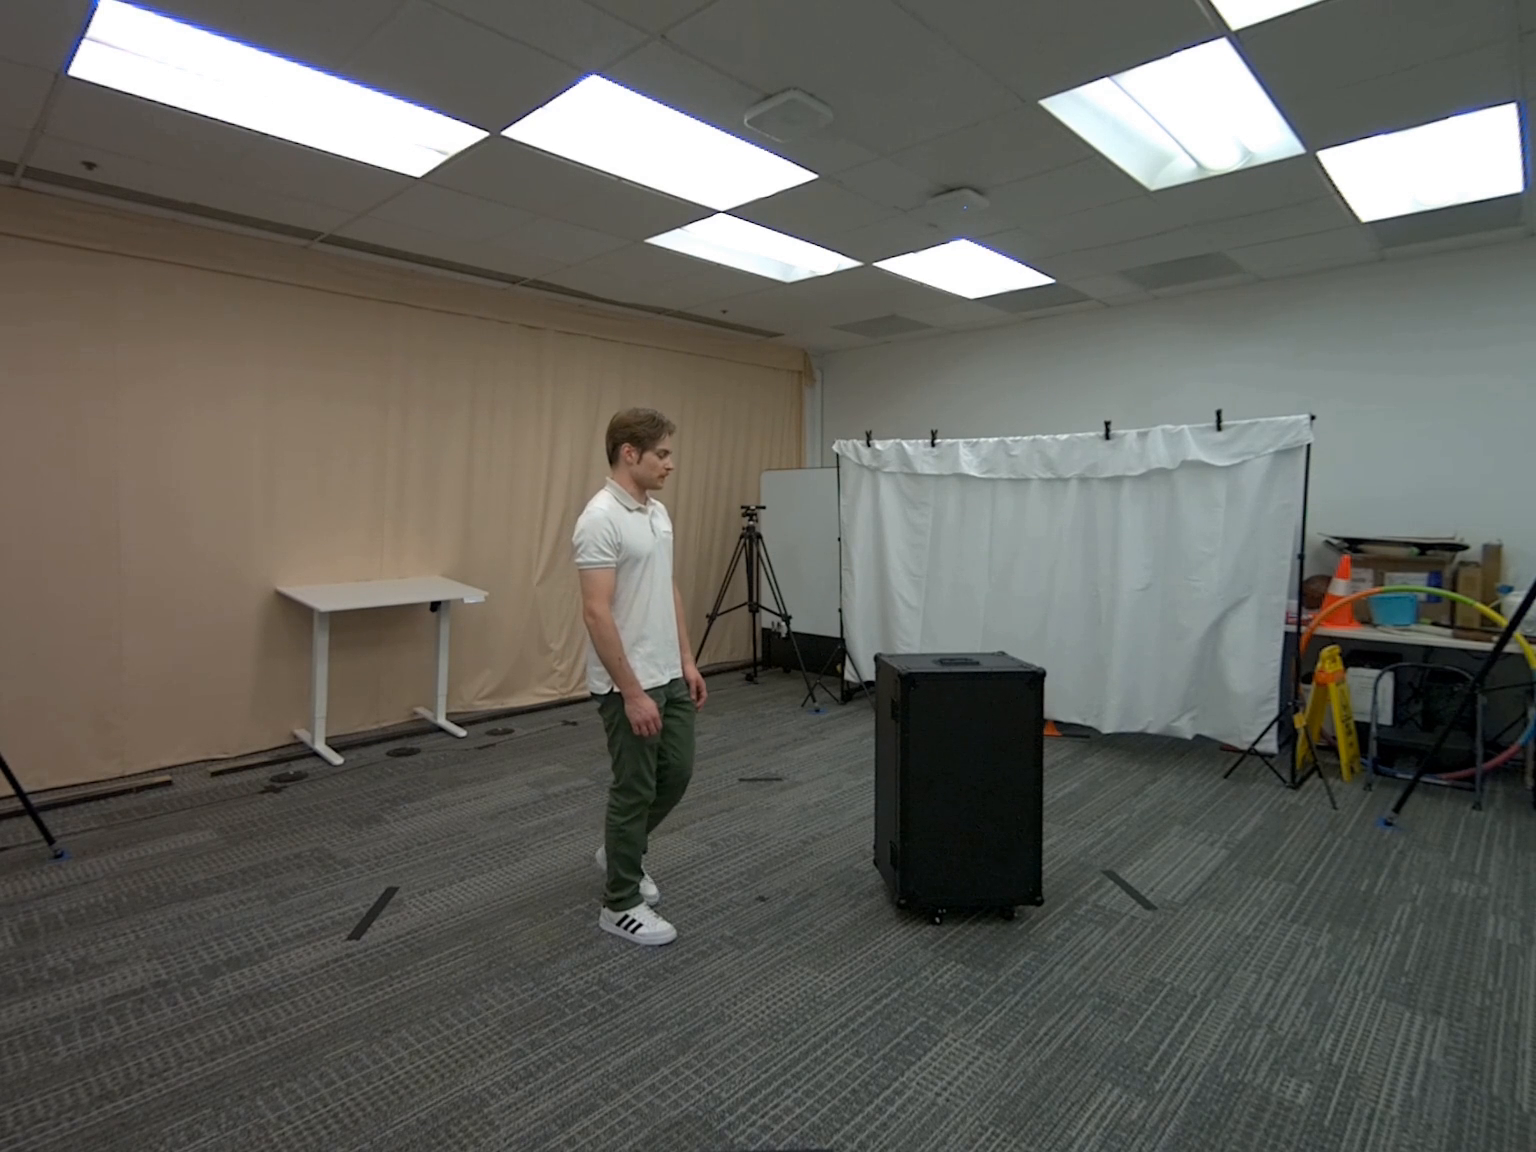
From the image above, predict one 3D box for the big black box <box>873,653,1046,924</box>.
[{"bbox_3d":[0.640,0.717,2.924,0.522,0.867,0.387,-1,3,-4],"label":"big black box"}]
